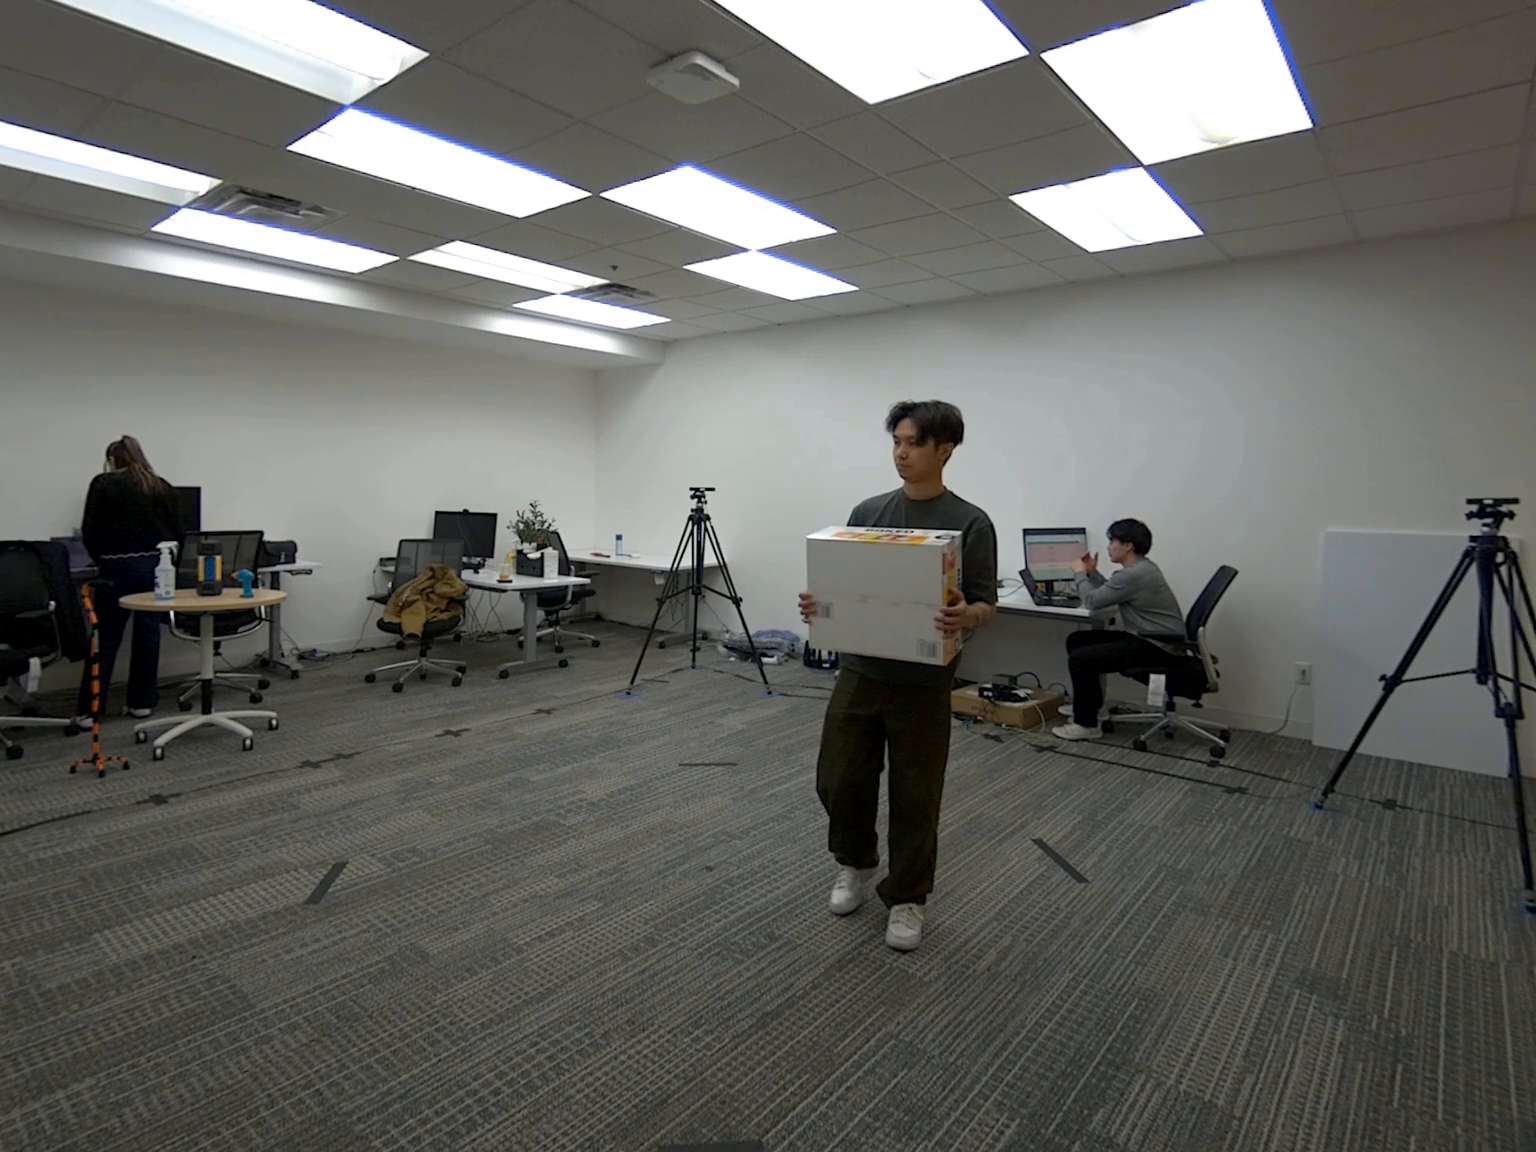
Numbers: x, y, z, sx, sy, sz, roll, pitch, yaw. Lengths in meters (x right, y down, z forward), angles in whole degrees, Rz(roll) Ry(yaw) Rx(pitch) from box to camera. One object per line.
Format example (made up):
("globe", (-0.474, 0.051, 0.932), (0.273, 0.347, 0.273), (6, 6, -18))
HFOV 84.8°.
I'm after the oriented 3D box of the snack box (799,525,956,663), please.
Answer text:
("snack box", (0.323, 0.038, 2.480), (0.416, 0.337, 0.202), (3, 11, 27))
